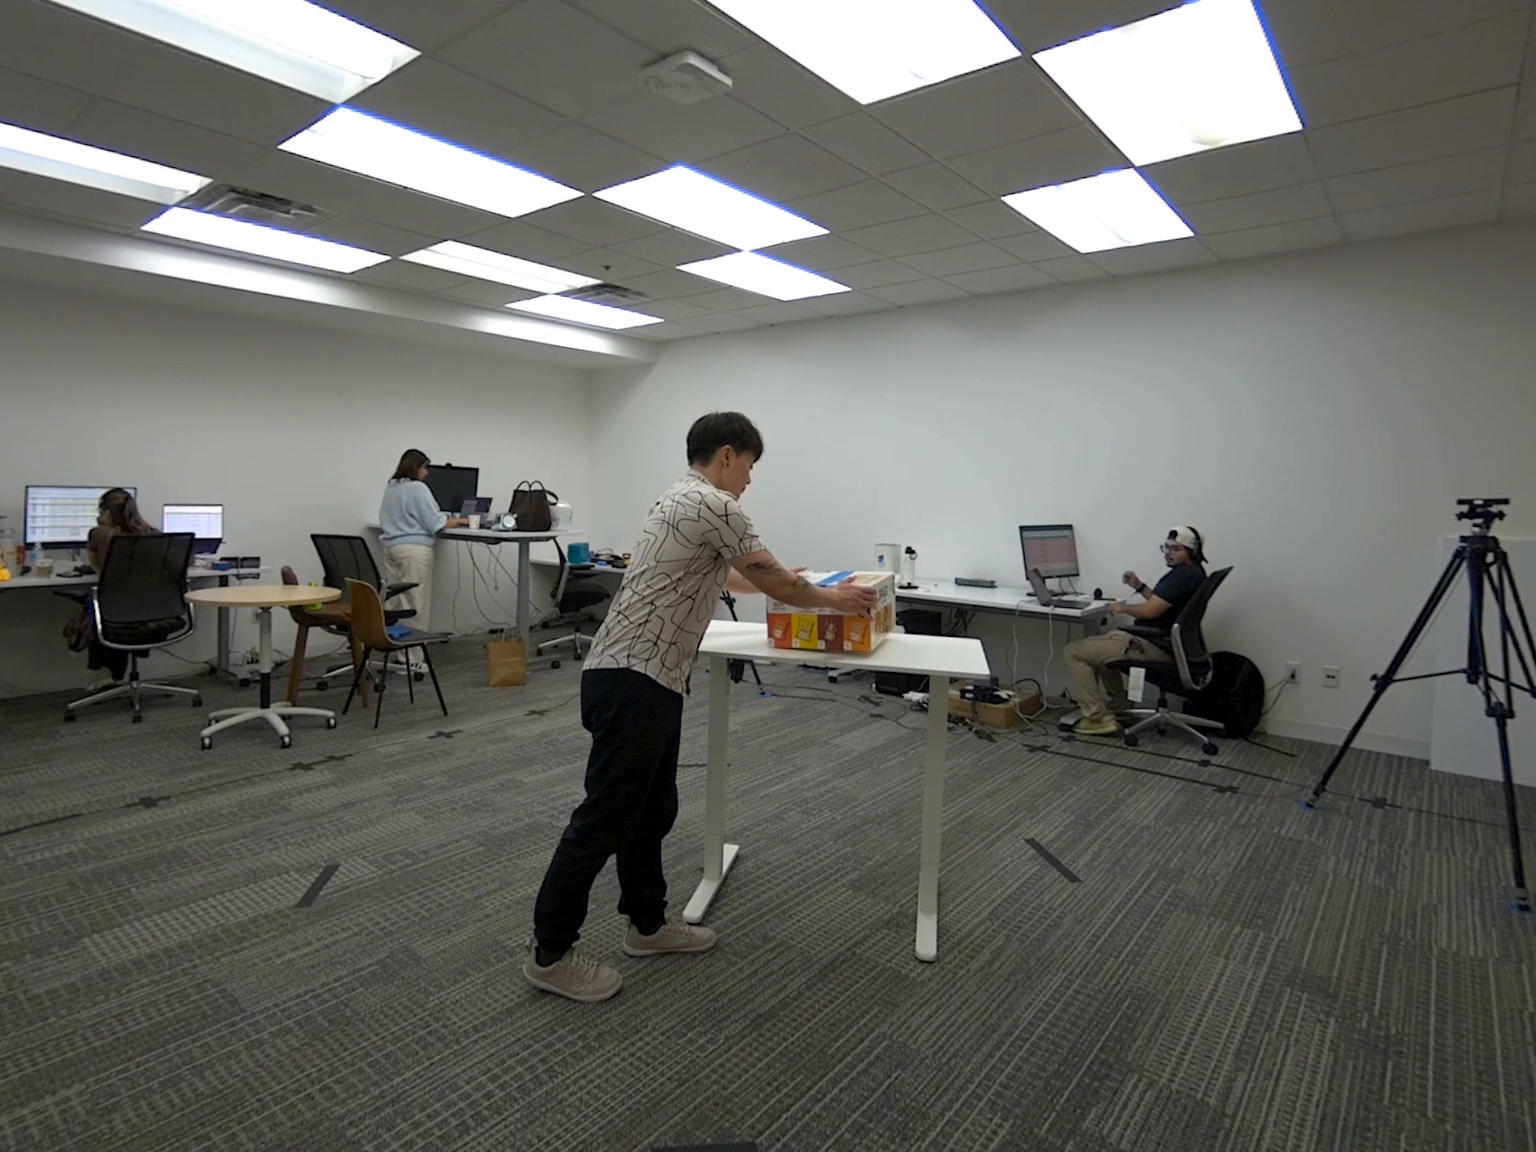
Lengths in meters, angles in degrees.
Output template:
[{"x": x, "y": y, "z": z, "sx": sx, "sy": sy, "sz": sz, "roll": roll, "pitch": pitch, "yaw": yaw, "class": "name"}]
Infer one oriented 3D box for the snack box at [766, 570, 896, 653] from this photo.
[{"x": 0.211, "y": 0.103, "z": 2.843, "sx": 0.348, "sy": 0.205, "sz": 0.398, "roll": 1, "pitch": 6, "yaw": 20, "class": "snack box"}]
